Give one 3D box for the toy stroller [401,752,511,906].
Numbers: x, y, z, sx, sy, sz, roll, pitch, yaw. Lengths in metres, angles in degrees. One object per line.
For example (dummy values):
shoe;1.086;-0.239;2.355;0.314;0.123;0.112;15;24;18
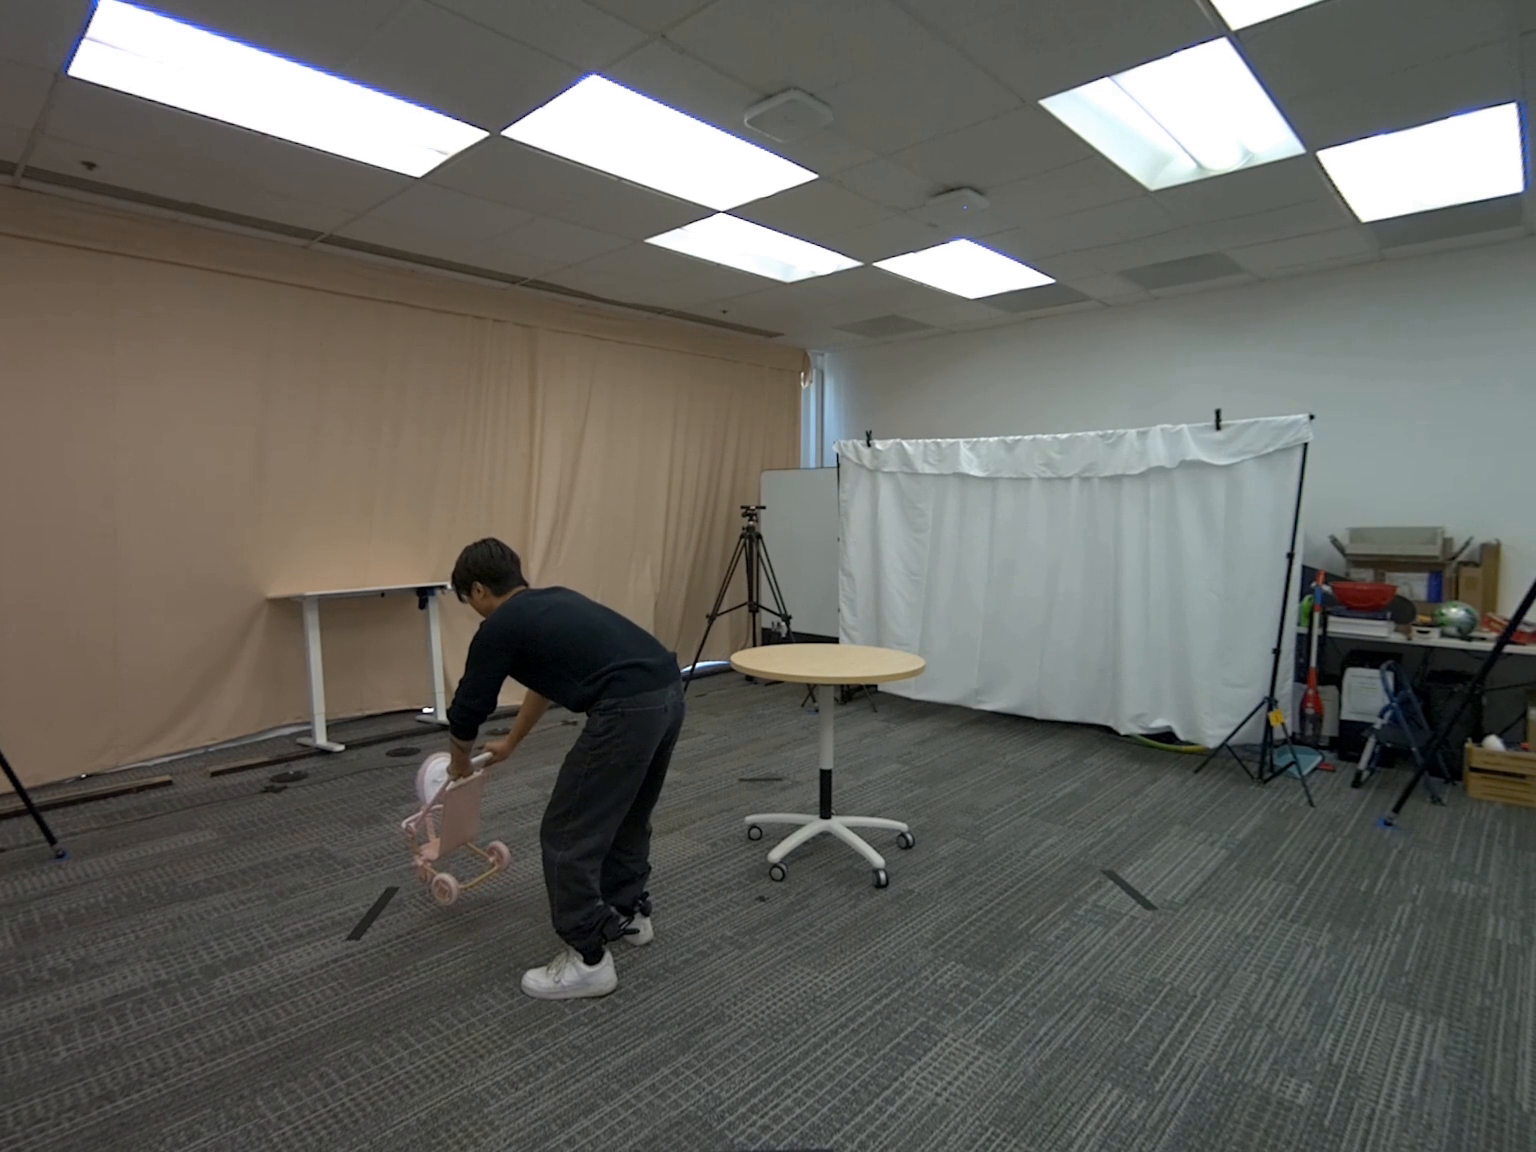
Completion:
toy stroller;-1.108;0.858;2.910;0.352;0.532;0.274;7;11;31
